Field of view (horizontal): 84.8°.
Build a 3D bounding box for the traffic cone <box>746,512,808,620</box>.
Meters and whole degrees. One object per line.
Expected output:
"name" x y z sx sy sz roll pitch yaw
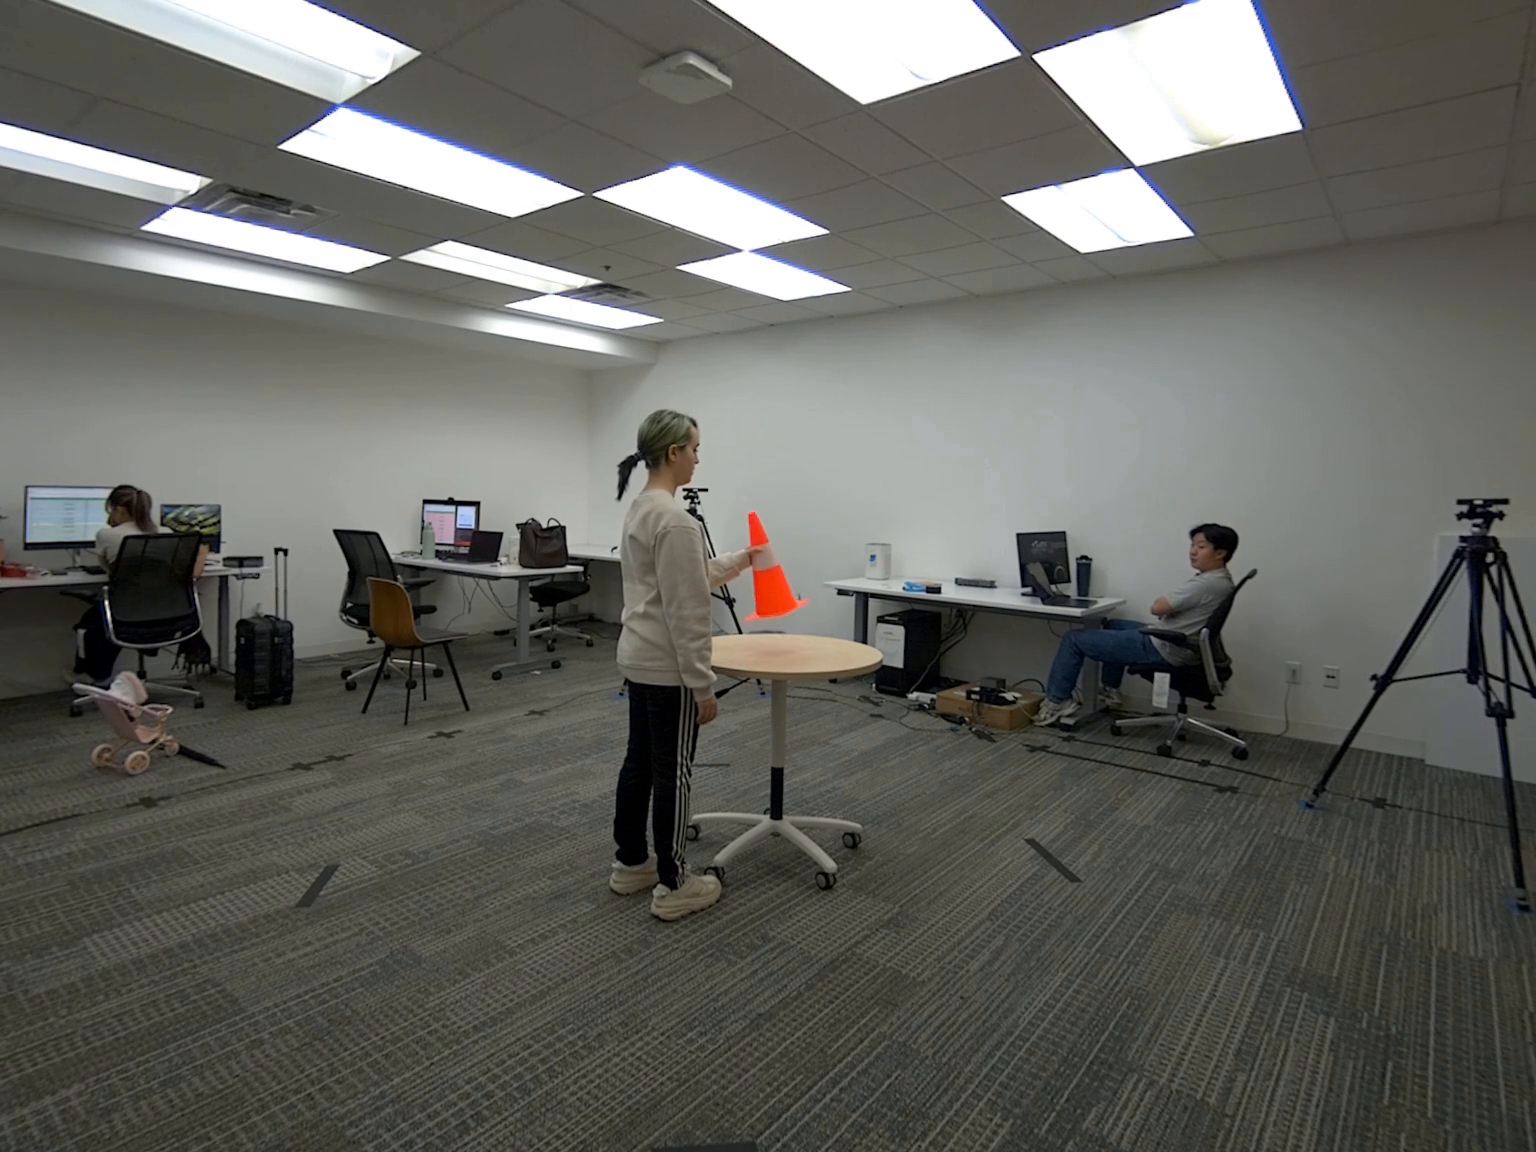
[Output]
"traffic cone" -0.023 -0.052 3.167 0.210 0.380 0.200 -9 10 31
